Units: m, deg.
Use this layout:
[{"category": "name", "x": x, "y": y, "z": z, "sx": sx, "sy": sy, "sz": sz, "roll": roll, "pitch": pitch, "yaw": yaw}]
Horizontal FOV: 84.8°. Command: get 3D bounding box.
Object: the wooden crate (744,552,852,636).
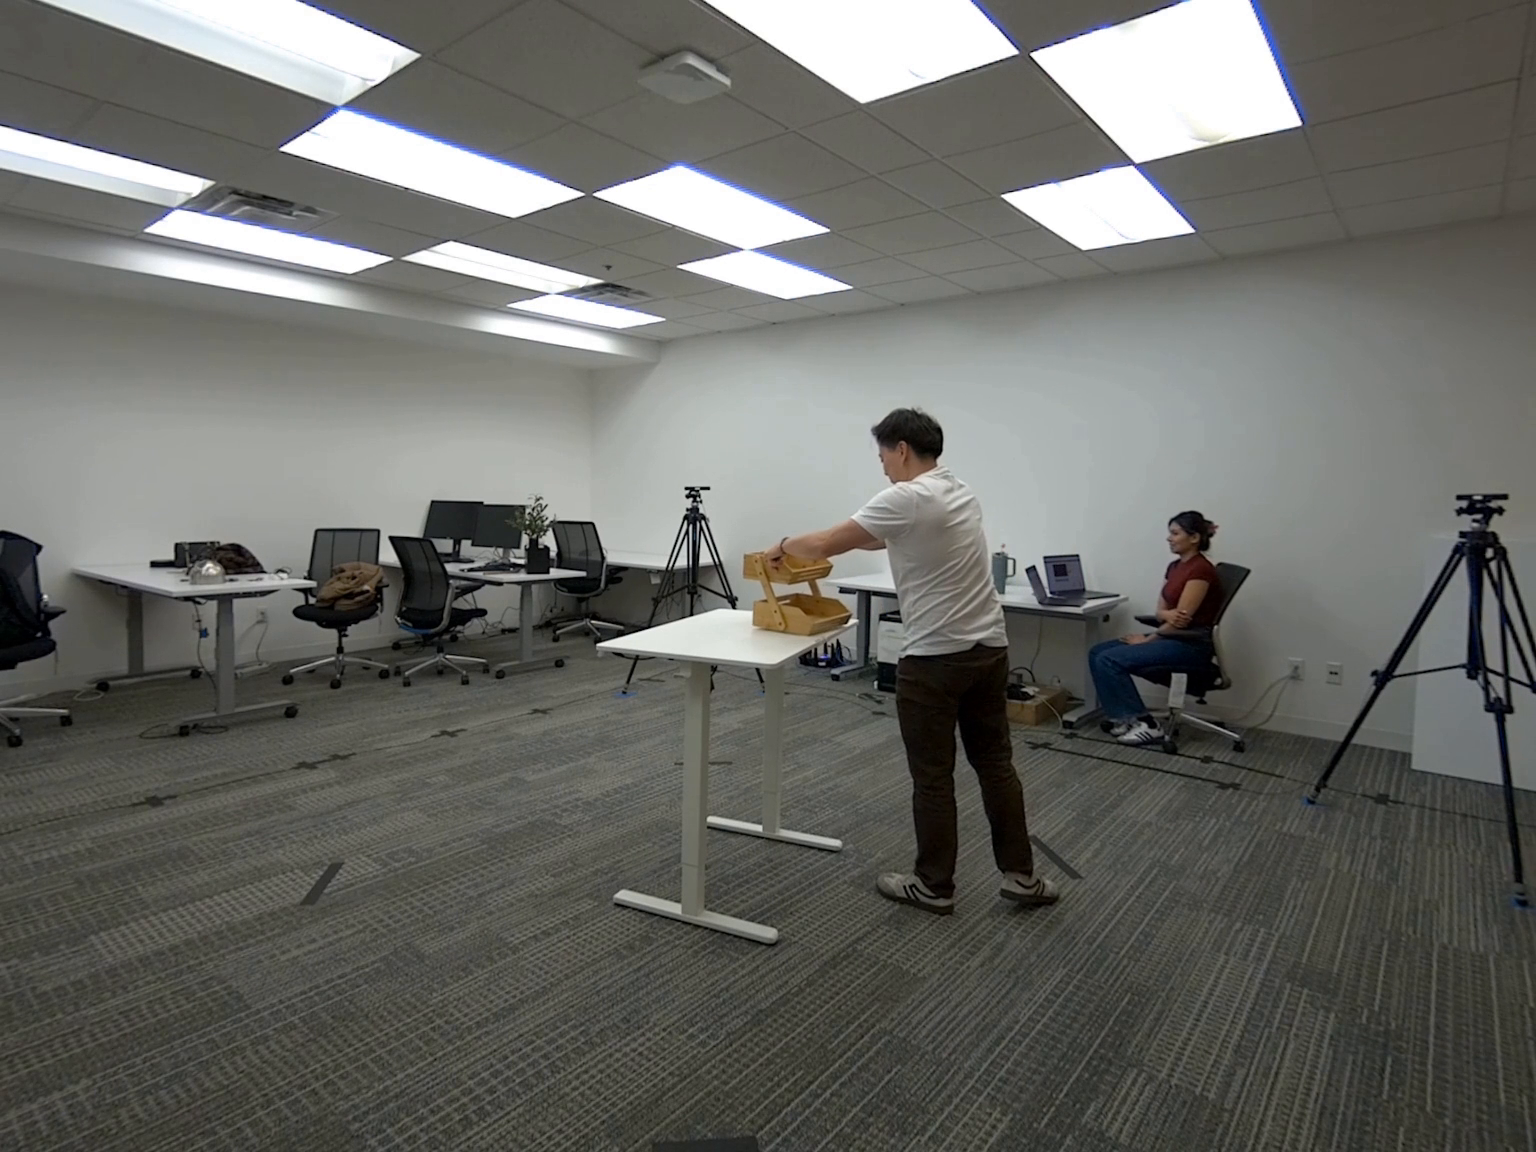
[{"category": "wooden crate", "x": 0.110, "y": 0.045, "z": 3.132, "sx": 0.312, "sy": 0.272, "sz": 0.316, "roll": 6, "pitch": 7, "yaw": 33}]
